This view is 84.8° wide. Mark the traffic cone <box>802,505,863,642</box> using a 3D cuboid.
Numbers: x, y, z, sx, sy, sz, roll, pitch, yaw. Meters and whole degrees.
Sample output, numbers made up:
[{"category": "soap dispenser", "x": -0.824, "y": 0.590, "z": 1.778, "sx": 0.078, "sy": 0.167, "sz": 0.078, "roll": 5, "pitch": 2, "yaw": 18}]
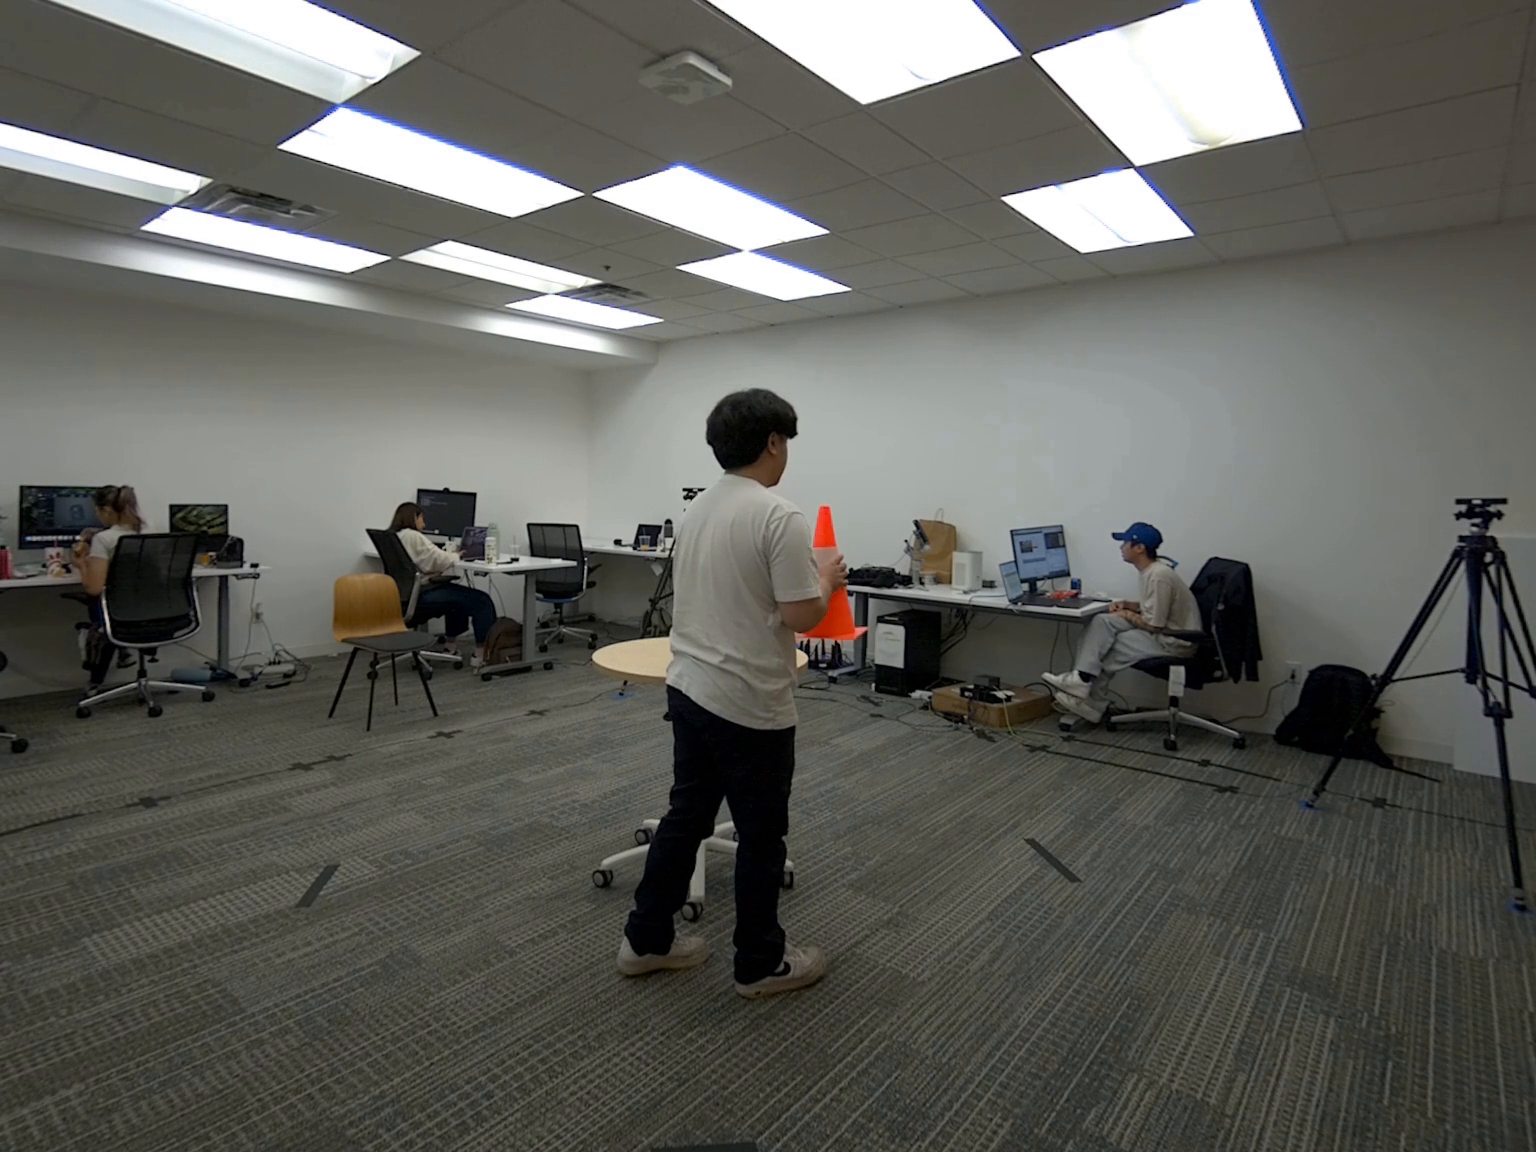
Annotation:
[{"category": "traffic cone", "x": 0.164, "y": -0.016, "z": 2.518, "sx": 0.210, "sy": 0.383, "sz": 0.198, "roll": 0, "pitch": 3, "yaw": 27}]
